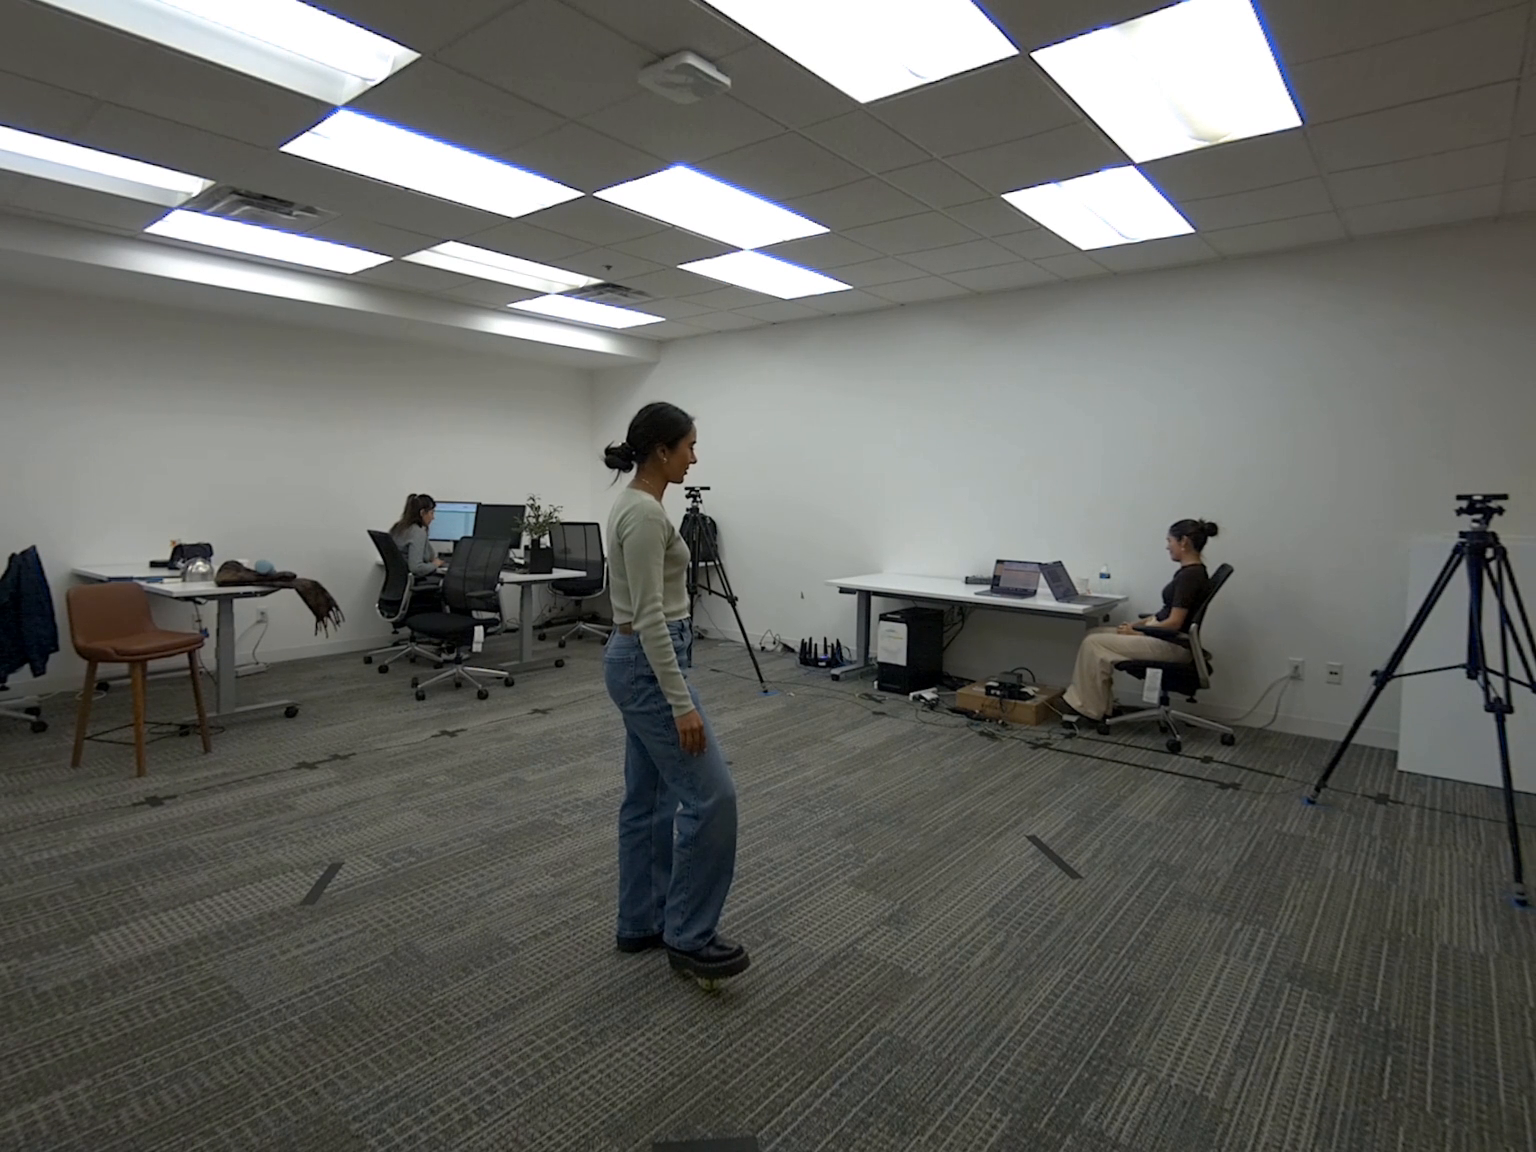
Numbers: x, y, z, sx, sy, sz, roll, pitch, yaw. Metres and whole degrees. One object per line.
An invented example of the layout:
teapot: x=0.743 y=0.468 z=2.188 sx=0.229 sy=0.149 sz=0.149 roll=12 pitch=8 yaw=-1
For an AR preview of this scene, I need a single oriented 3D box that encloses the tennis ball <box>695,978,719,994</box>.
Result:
tennis ball: x=-0.169 y=1.120 z=2.356 sx=0.066 sy=0.066 sz=0.067 roll=1 pitch=4 yaw=-2
